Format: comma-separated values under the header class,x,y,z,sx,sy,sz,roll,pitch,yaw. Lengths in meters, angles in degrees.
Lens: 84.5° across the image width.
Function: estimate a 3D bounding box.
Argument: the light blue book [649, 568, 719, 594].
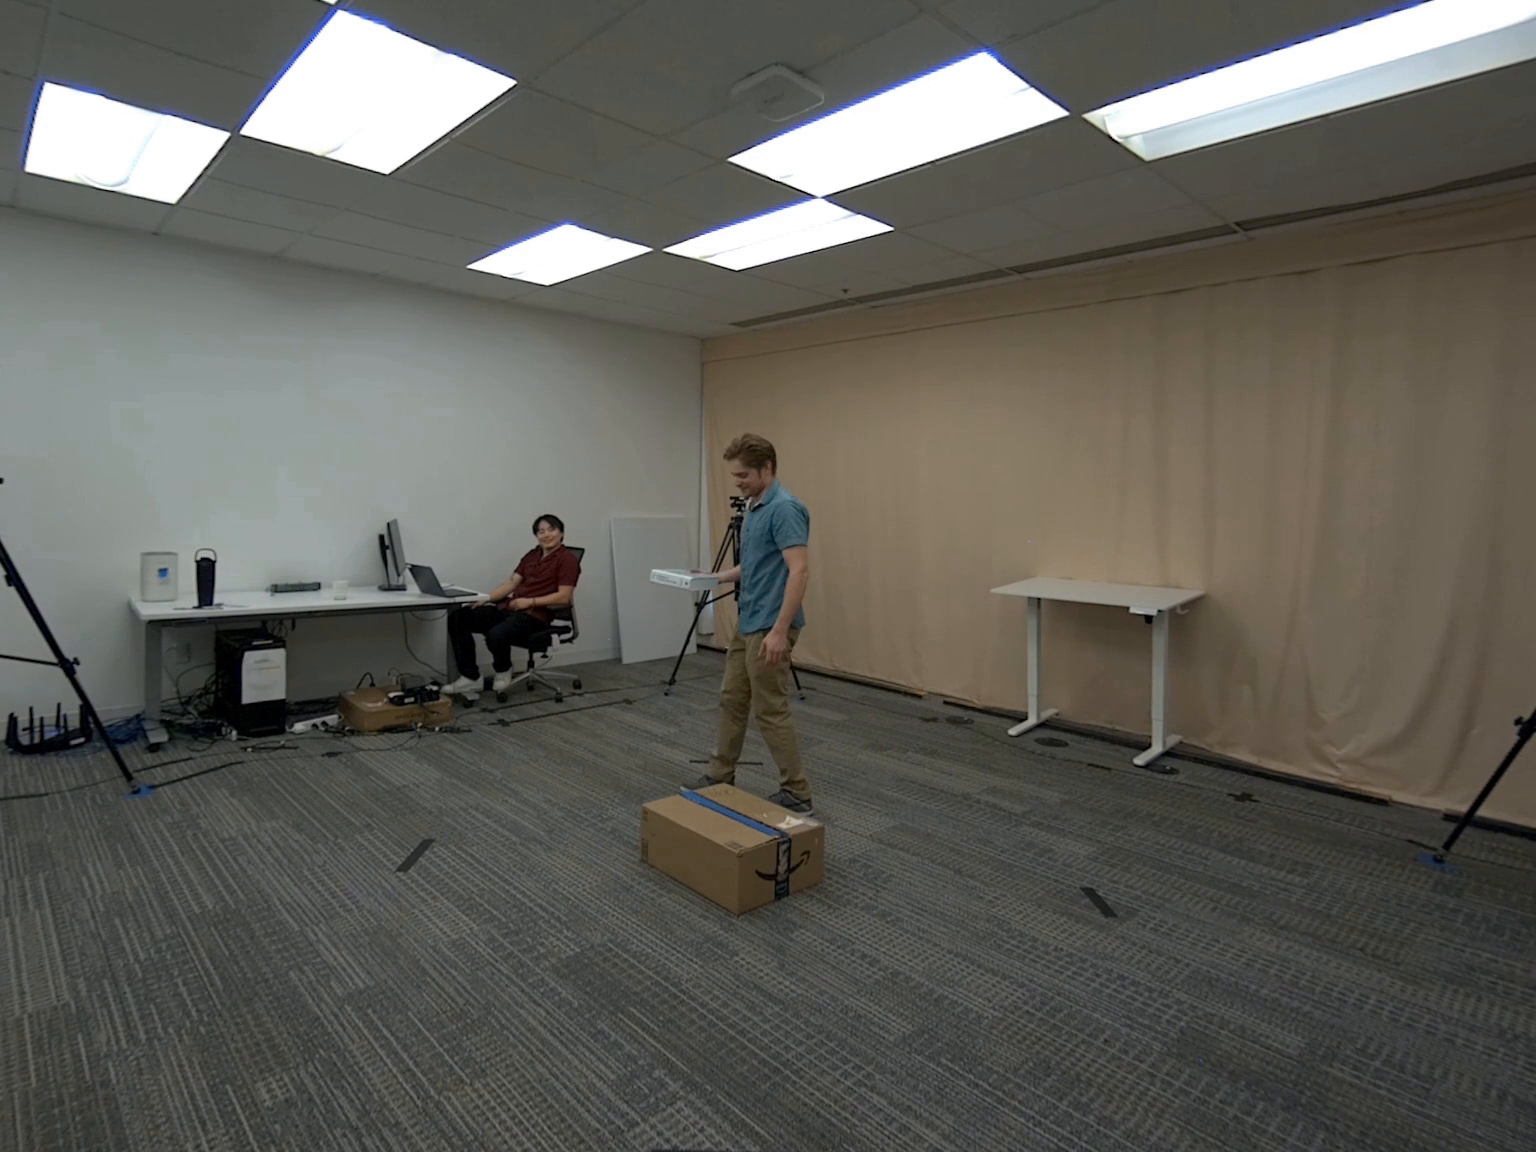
class,x,y,z,sx,sy,sz,roll,pitch,yaw
light blue book,-0.385,0.010,3.844,0.268,0.059,0.187,10,8,38
